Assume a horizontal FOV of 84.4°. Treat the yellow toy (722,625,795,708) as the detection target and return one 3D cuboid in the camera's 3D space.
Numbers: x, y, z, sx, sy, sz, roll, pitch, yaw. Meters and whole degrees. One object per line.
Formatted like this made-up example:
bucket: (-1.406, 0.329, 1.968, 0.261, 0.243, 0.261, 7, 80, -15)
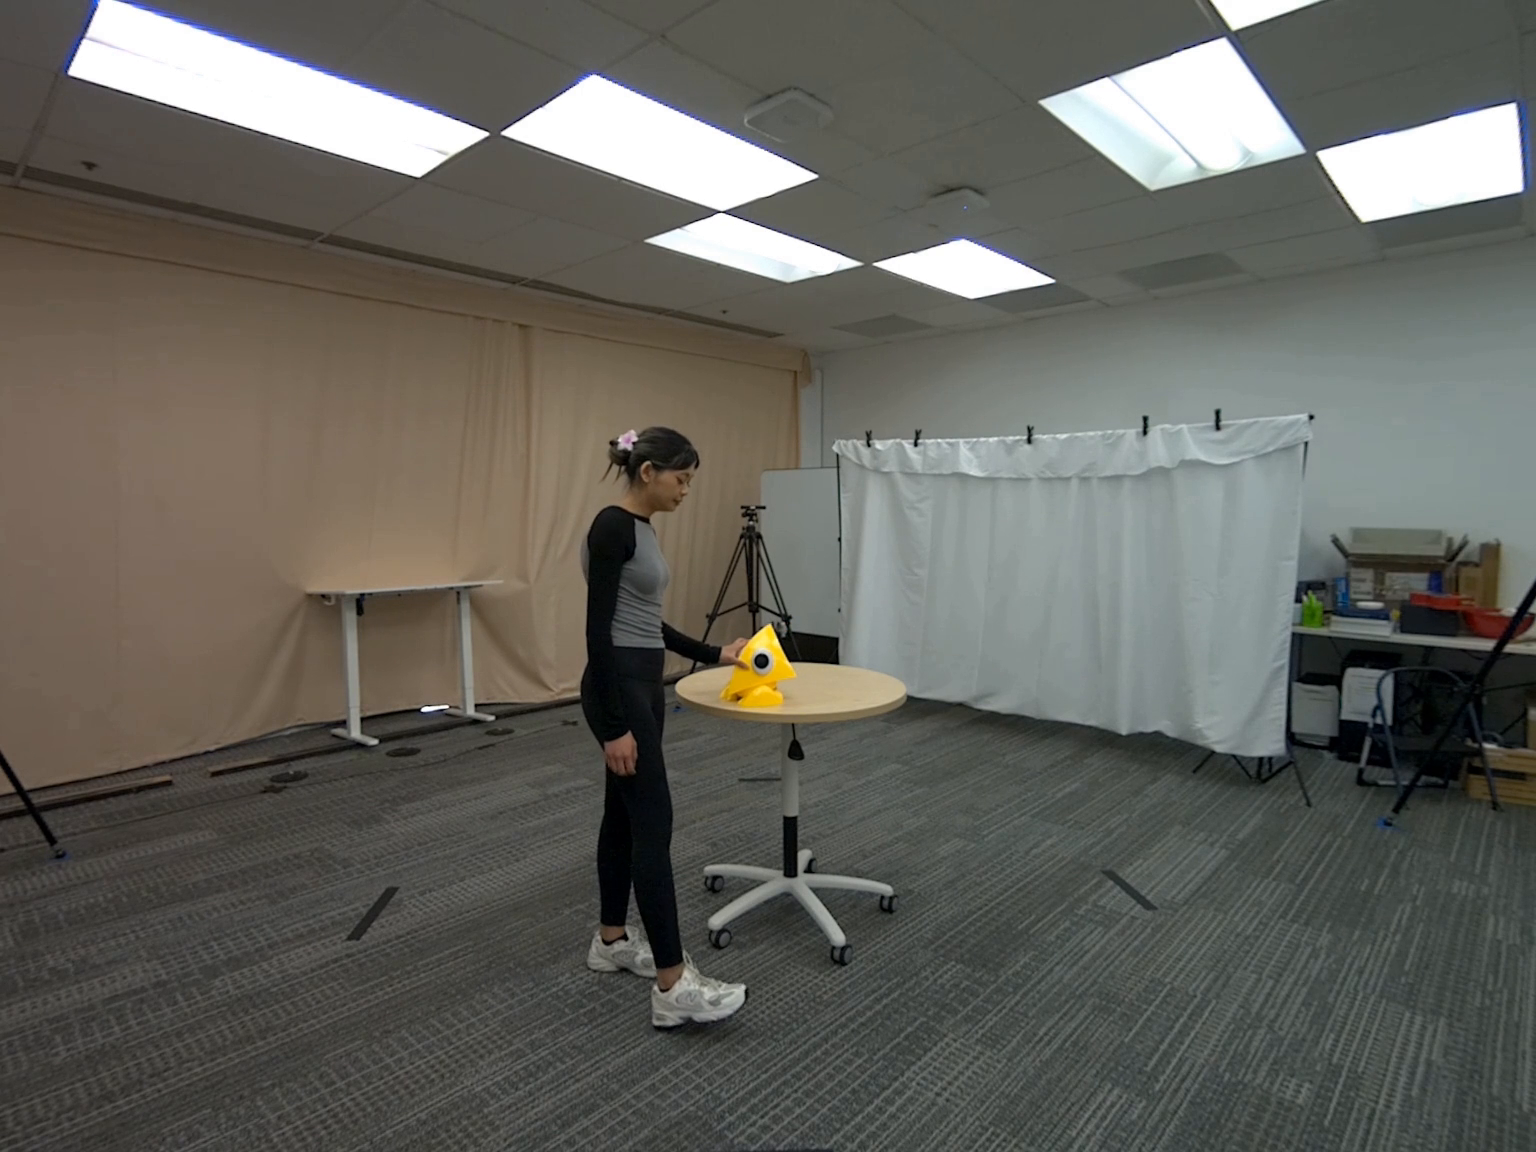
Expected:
yellow toy: (-0.037, 0.273, 2.618, 0.188, 0.230, 0.211, -3, 4, -31)
